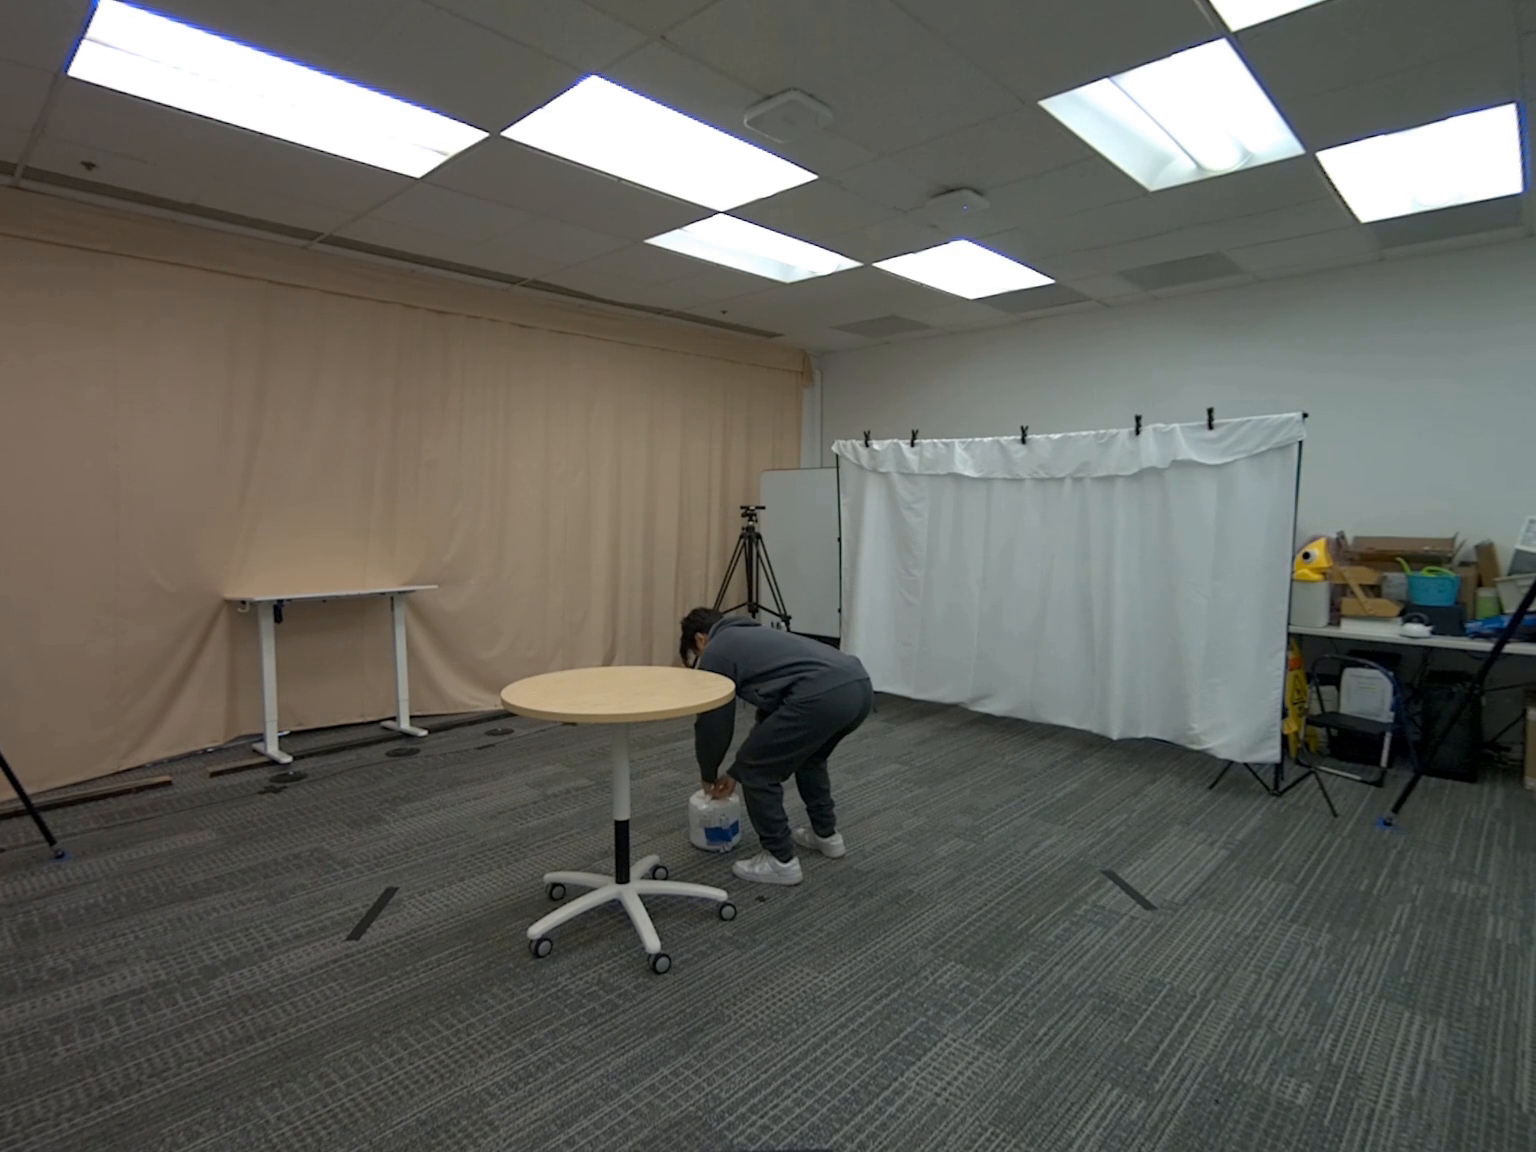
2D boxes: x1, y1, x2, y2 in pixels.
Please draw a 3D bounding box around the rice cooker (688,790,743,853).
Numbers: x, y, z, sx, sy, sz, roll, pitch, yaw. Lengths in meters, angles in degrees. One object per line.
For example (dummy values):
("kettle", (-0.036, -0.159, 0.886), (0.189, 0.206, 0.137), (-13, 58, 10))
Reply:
("rice cooker", (-0.220, 0.991, 3.470), (0.222, 0.232, 0.216), (1, 5, 20))
